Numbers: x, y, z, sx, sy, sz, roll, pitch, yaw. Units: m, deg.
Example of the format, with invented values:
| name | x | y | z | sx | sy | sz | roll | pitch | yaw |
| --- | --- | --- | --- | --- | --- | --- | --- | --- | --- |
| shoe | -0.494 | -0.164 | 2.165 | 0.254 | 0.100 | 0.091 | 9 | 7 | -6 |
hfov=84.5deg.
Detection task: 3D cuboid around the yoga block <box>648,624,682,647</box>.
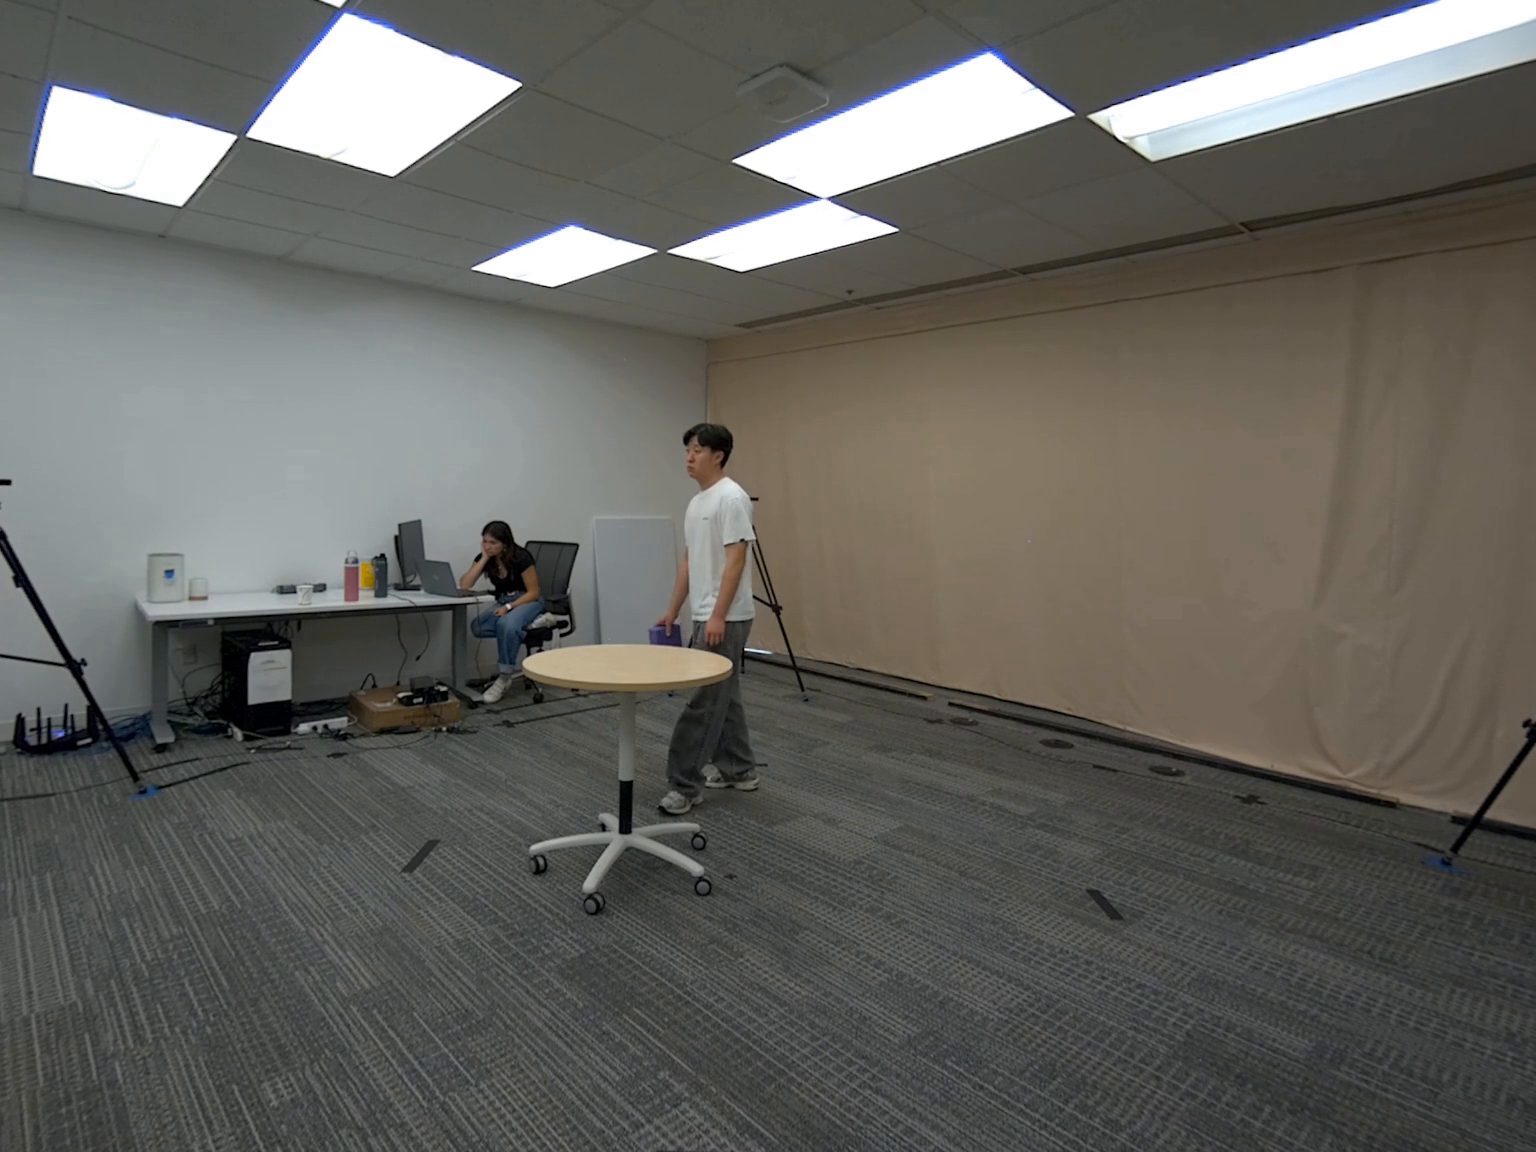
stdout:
| name | x | y | z | sx | sy | sz | roll | pitch | yaw |
| --- | --- | --- | --- | --- | --- | --- | --- | --- | --- |
| yoga block | -0.498 | 0.355 | 4.140 | 0.146 | 0.228 | 0.078 | -10 | 7 | -38 |
